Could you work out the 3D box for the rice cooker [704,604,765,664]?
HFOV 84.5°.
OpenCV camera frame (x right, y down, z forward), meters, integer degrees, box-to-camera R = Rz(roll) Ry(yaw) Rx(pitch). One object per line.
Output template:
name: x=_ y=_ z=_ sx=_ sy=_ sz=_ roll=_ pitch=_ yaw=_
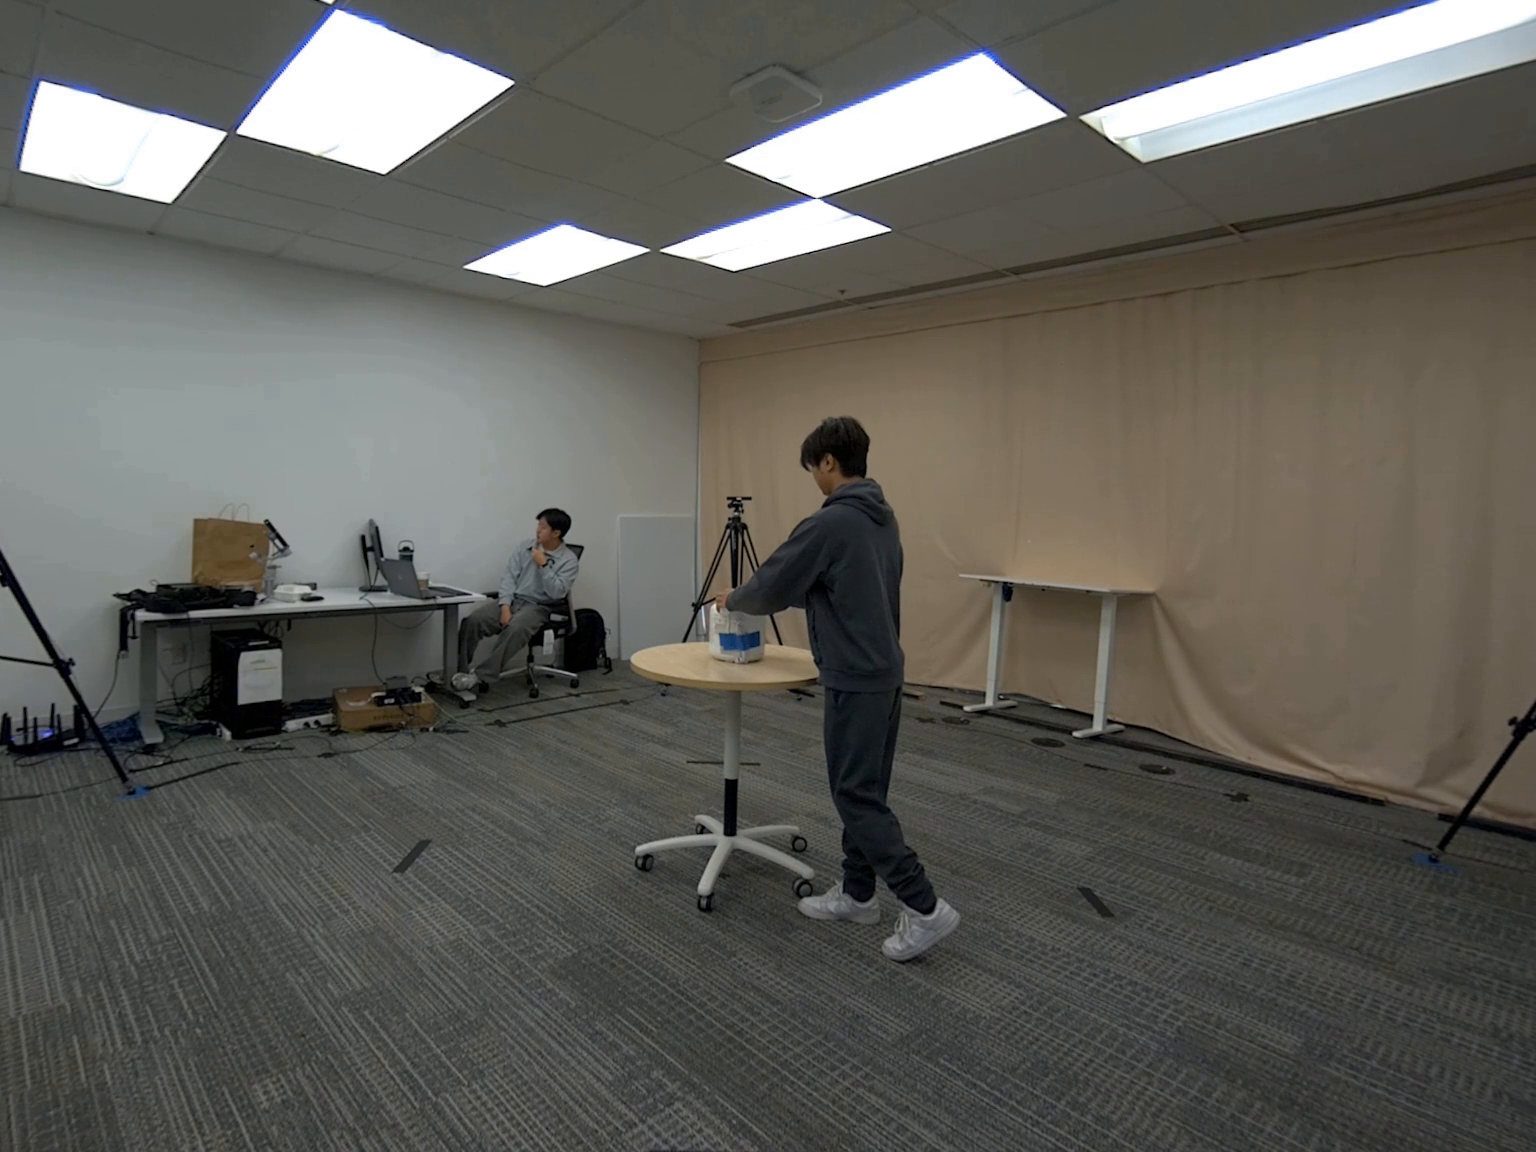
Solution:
rice cooker: x=-0.115 y=0.186 z=3.119 sx=0.223 sy=0.232 sz=0.216 roll=9 pitch=7 yaw=35
